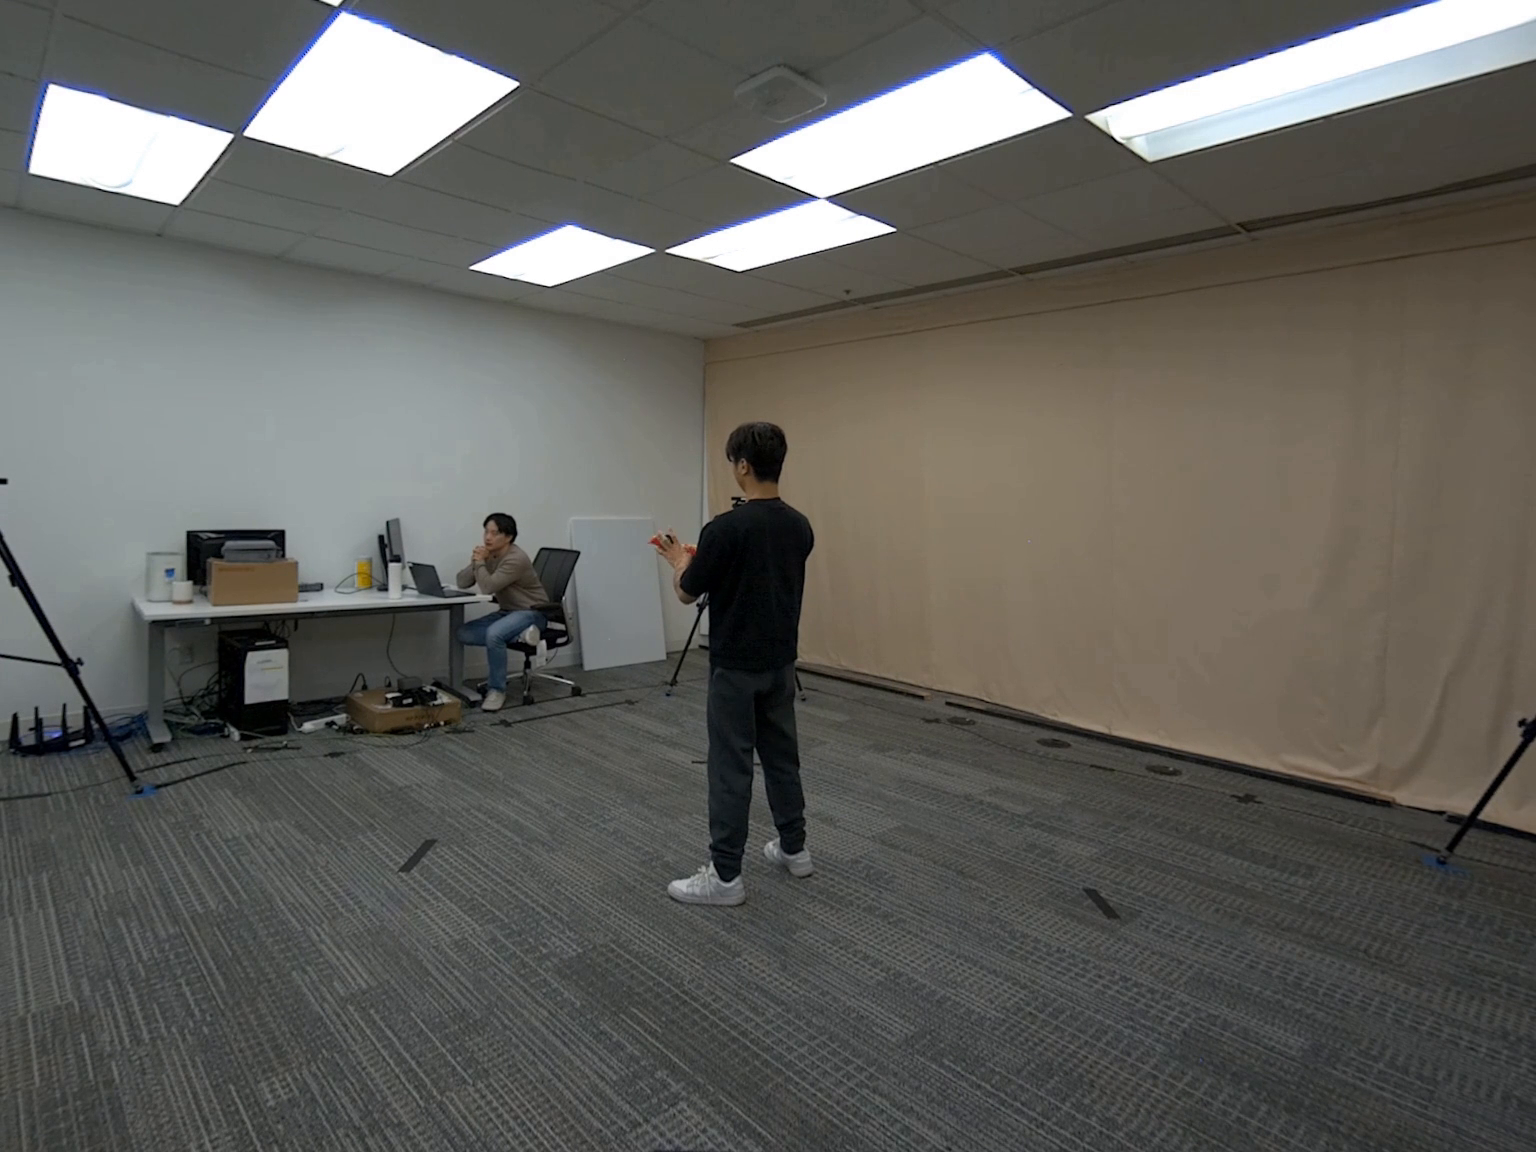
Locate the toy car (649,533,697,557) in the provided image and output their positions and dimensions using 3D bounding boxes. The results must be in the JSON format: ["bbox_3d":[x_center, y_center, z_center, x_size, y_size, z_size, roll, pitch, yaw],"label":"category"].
[{"bbox_3d":[-0.351,-0.109,3.282,0.253,0.083,0.131,8,2,-5],"label":"toy car"}]
